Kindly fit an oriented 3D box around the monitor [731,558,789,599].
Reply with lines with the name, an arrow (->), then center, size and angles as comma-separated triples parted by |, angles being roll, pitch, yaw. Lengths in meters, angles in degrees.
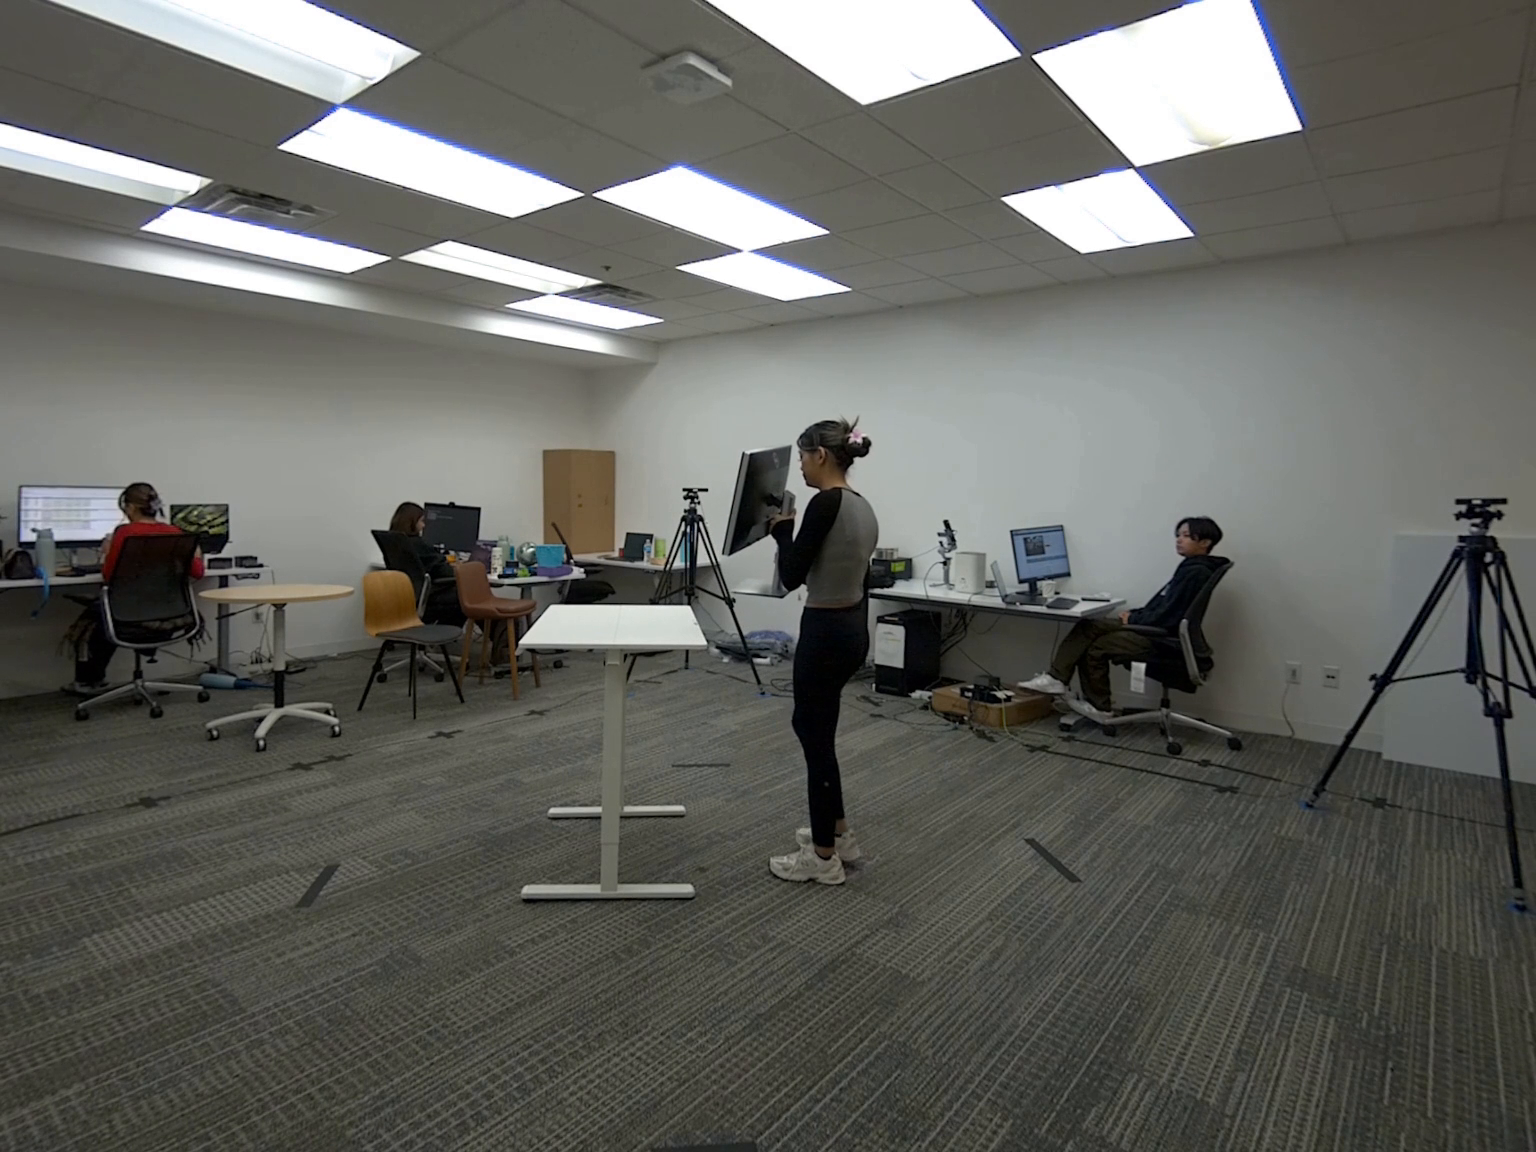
monitor -> -0.022, -0.212, 3.124 | 0.190, 0.518, 0.535 | 5, 11, 14
